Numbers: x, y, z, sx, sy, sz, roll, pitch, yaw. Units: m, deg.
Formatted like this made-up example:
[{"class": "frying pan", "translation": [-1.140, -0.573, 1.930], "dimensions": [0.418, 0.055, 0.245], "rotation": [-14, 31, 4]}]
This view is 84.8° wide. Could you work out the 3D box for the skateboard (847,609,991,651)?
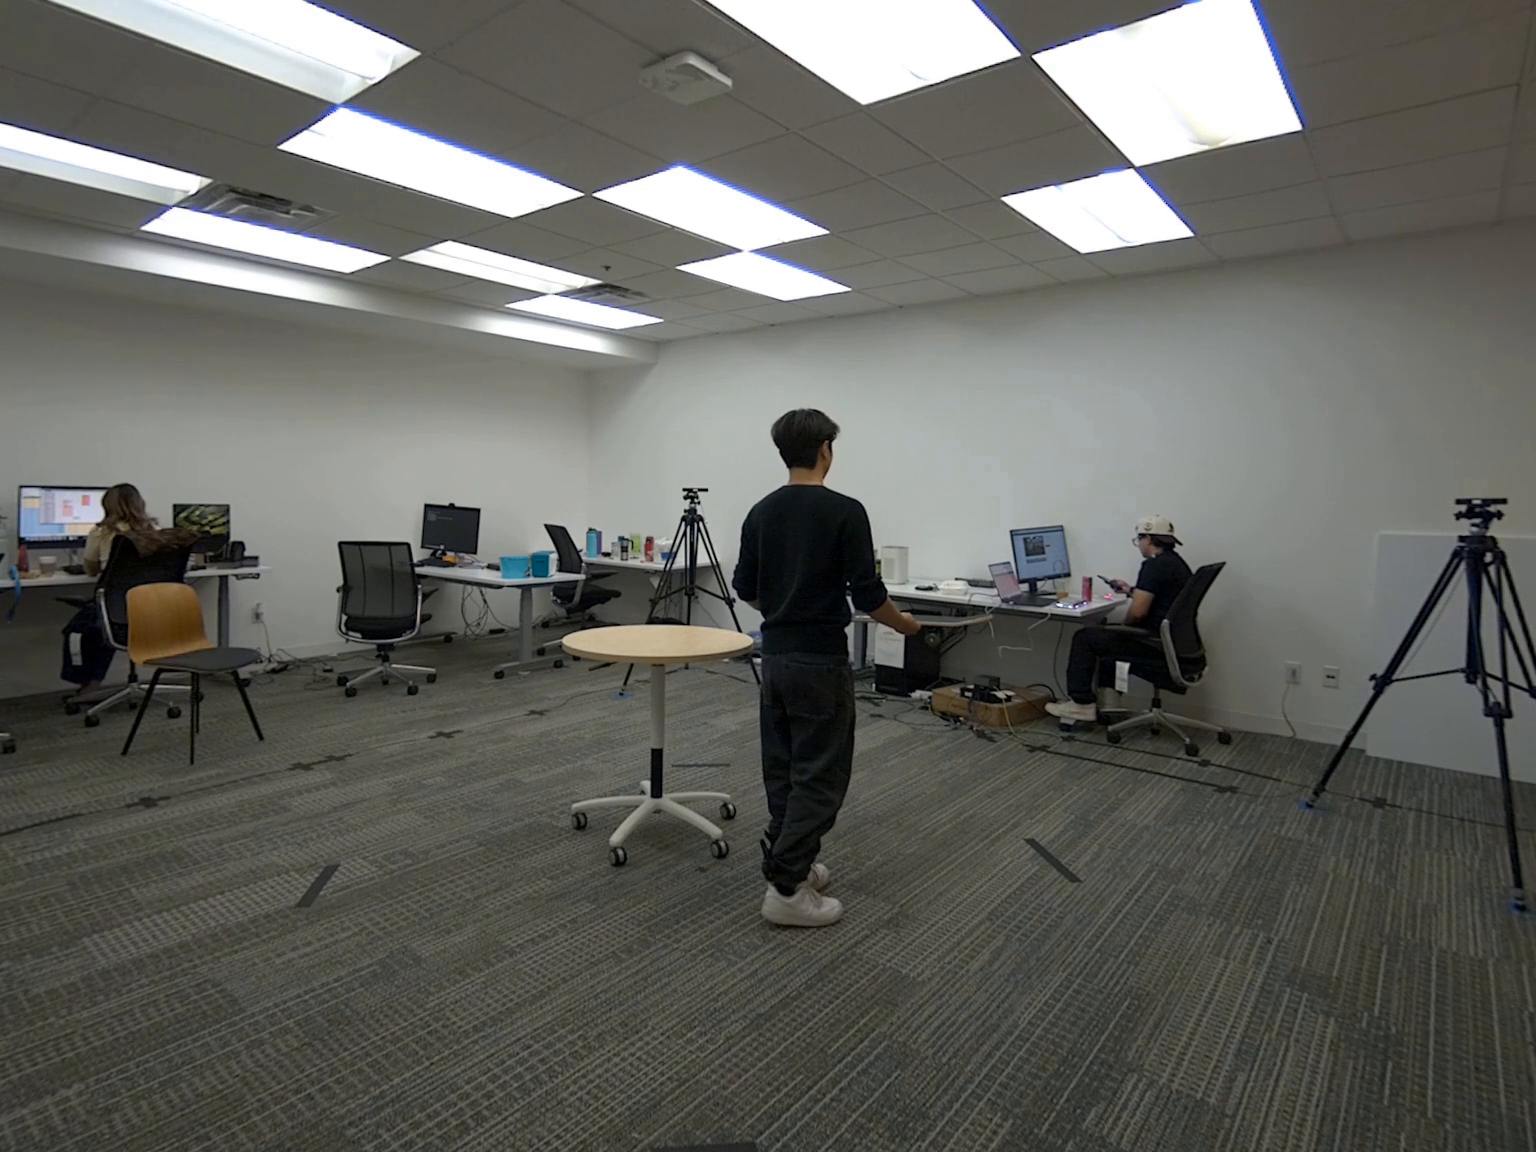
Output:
[{"class": "skateboard", "translation": [0.413, 0.189, 3.156], "dimensions": [0.804, 0.110, 0.189], "rotation": [1, 3, 23]}]
